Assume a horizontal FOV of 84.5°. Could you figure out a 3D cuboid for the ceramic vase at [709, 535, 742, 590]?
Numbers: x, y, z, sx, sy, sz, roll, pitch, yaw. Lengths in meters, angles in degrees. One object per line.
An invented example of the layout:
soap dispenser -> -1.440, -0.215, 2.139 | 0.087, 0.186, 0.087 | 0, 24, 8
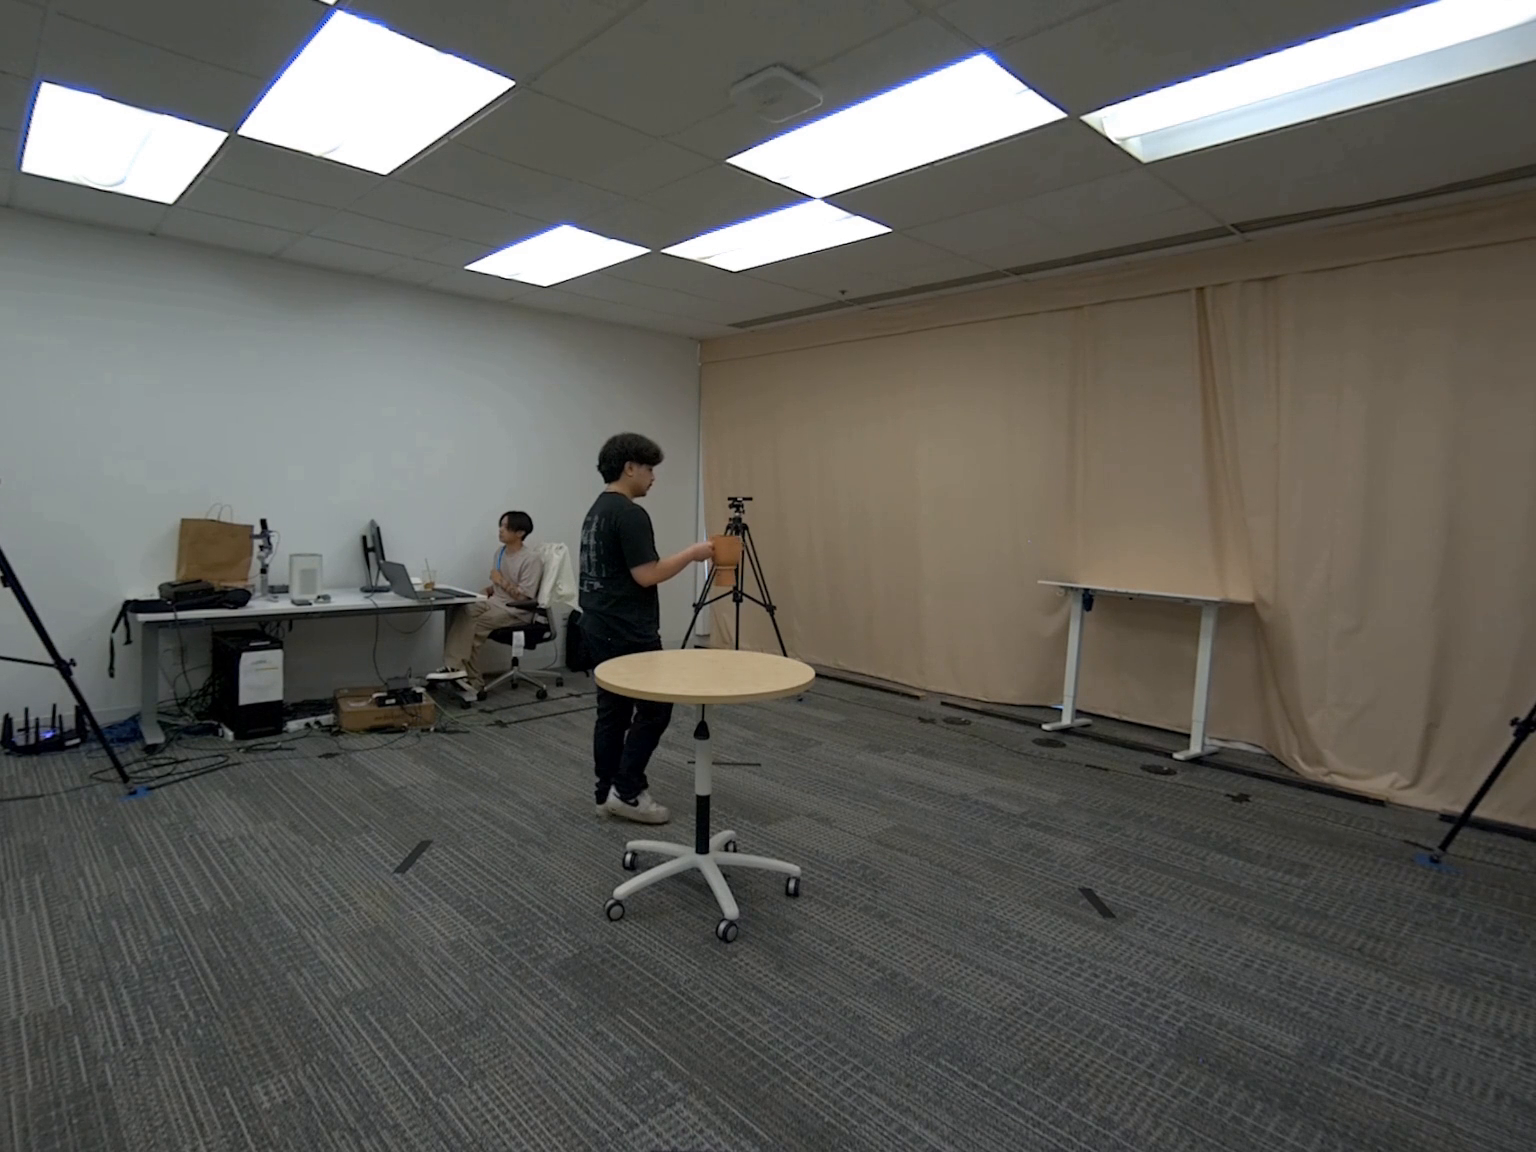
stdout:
ceramic vase -> -0.204, -0.068, 3.718 | 0.160, 0.219, 0.134 | 0, 4, 7
